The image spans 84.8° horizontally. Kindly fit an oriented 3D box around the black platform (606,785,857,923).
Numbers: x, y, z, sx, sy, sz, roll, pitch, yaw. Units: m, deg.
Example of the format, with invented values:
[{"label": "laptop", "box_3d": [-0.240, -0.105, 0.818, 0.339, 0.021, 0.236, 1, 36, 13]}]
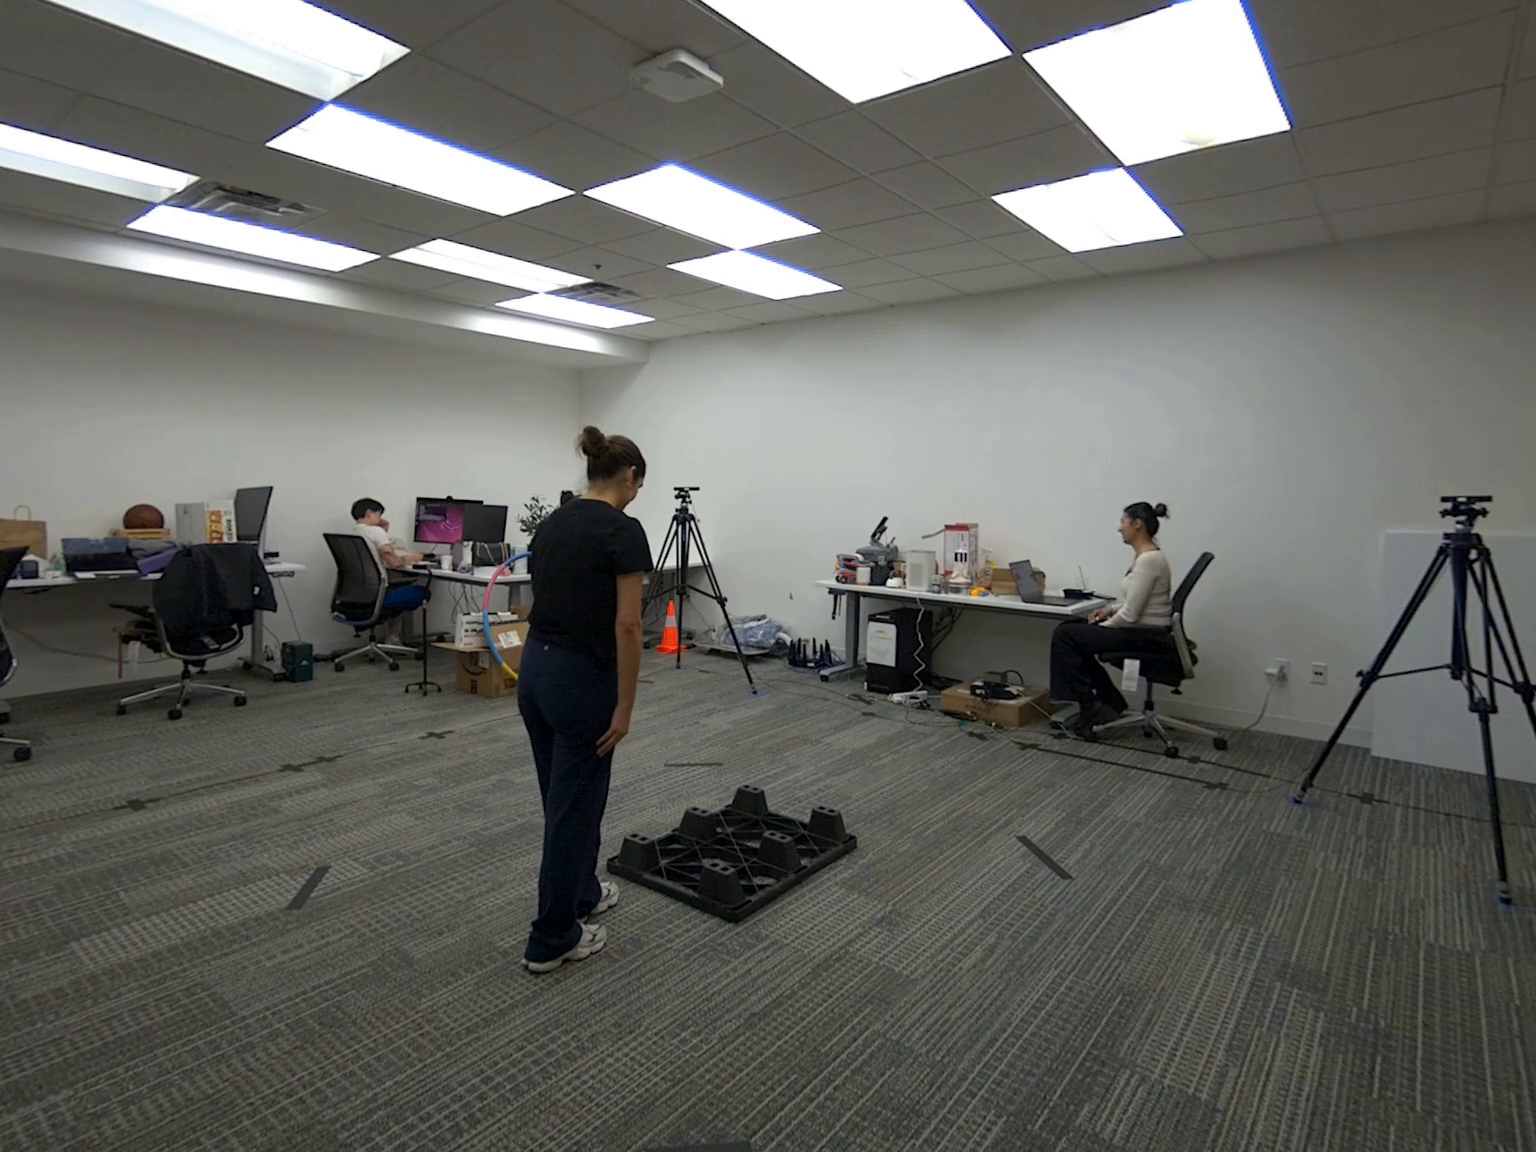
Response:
[{"label": "black platform", "box_3d": [-0.103, 0.991, 3.213, 0.625, 0.143, 0.782, 5, 7, 37]}]
